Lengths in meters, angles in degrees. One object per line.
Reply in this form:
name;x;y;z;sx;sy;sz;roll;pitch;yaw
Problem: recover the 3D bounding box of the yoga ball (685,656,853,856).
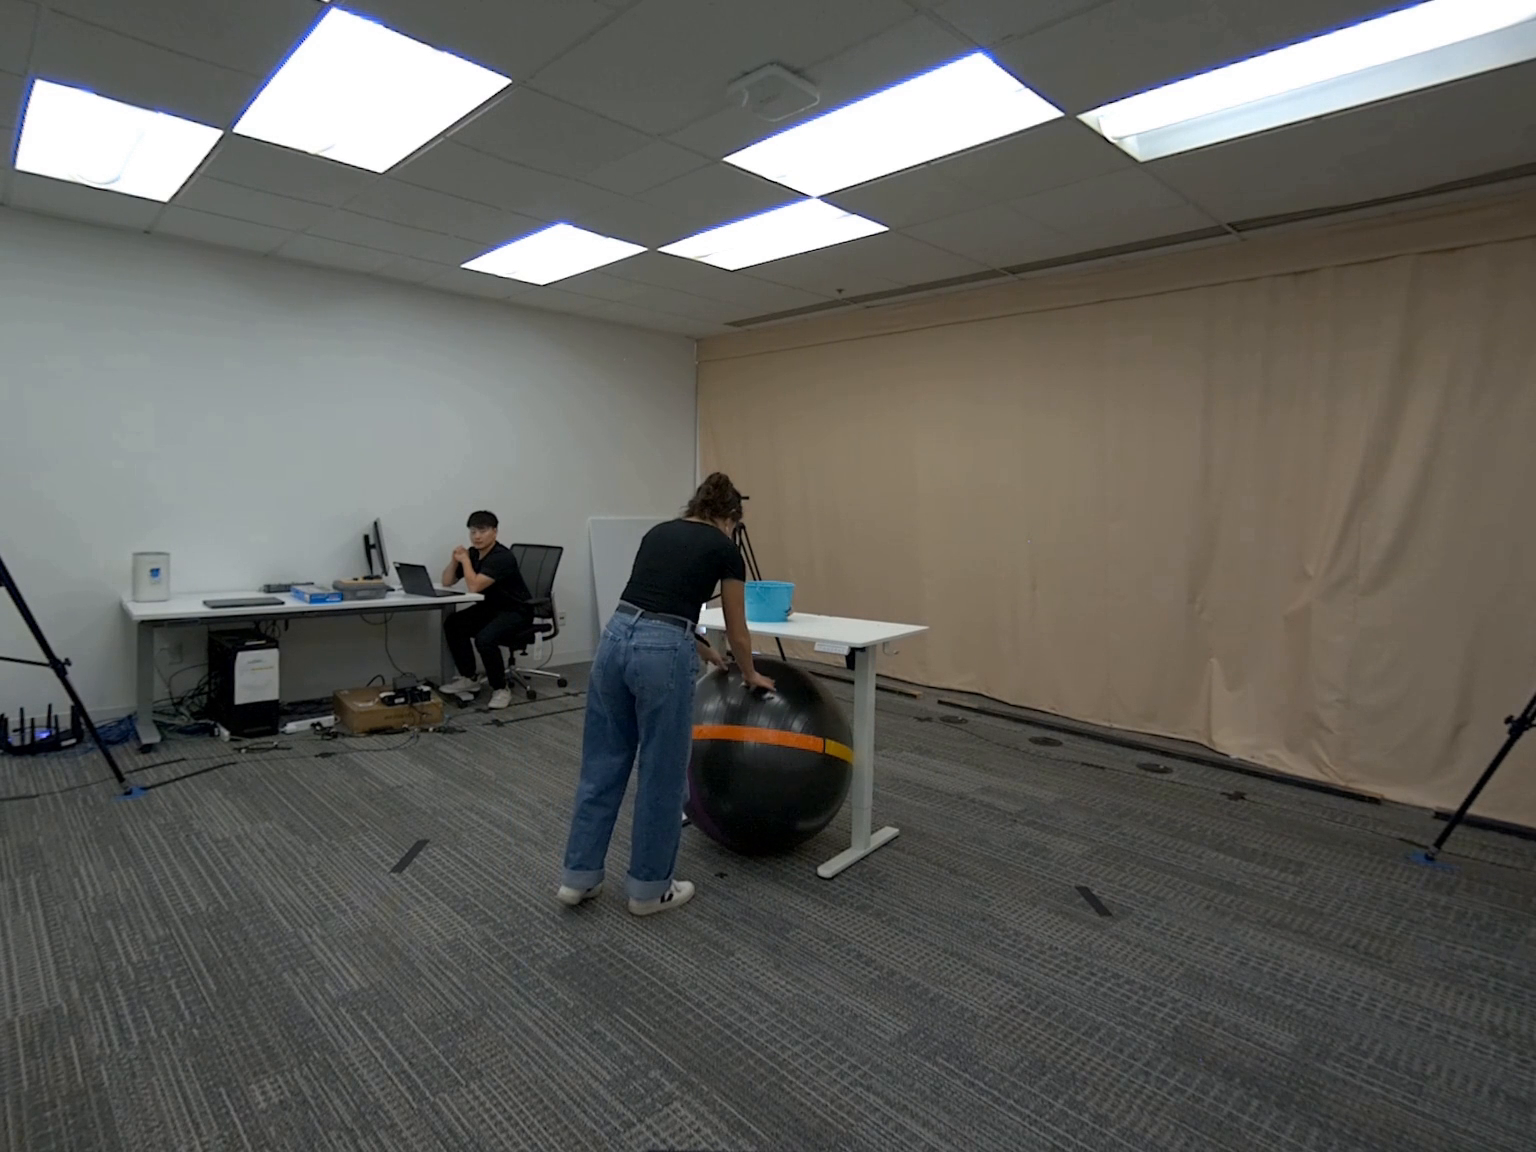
yoga ball;-0.037;0.720;3.379;0.757;0.756;0.761;1;4;-1
